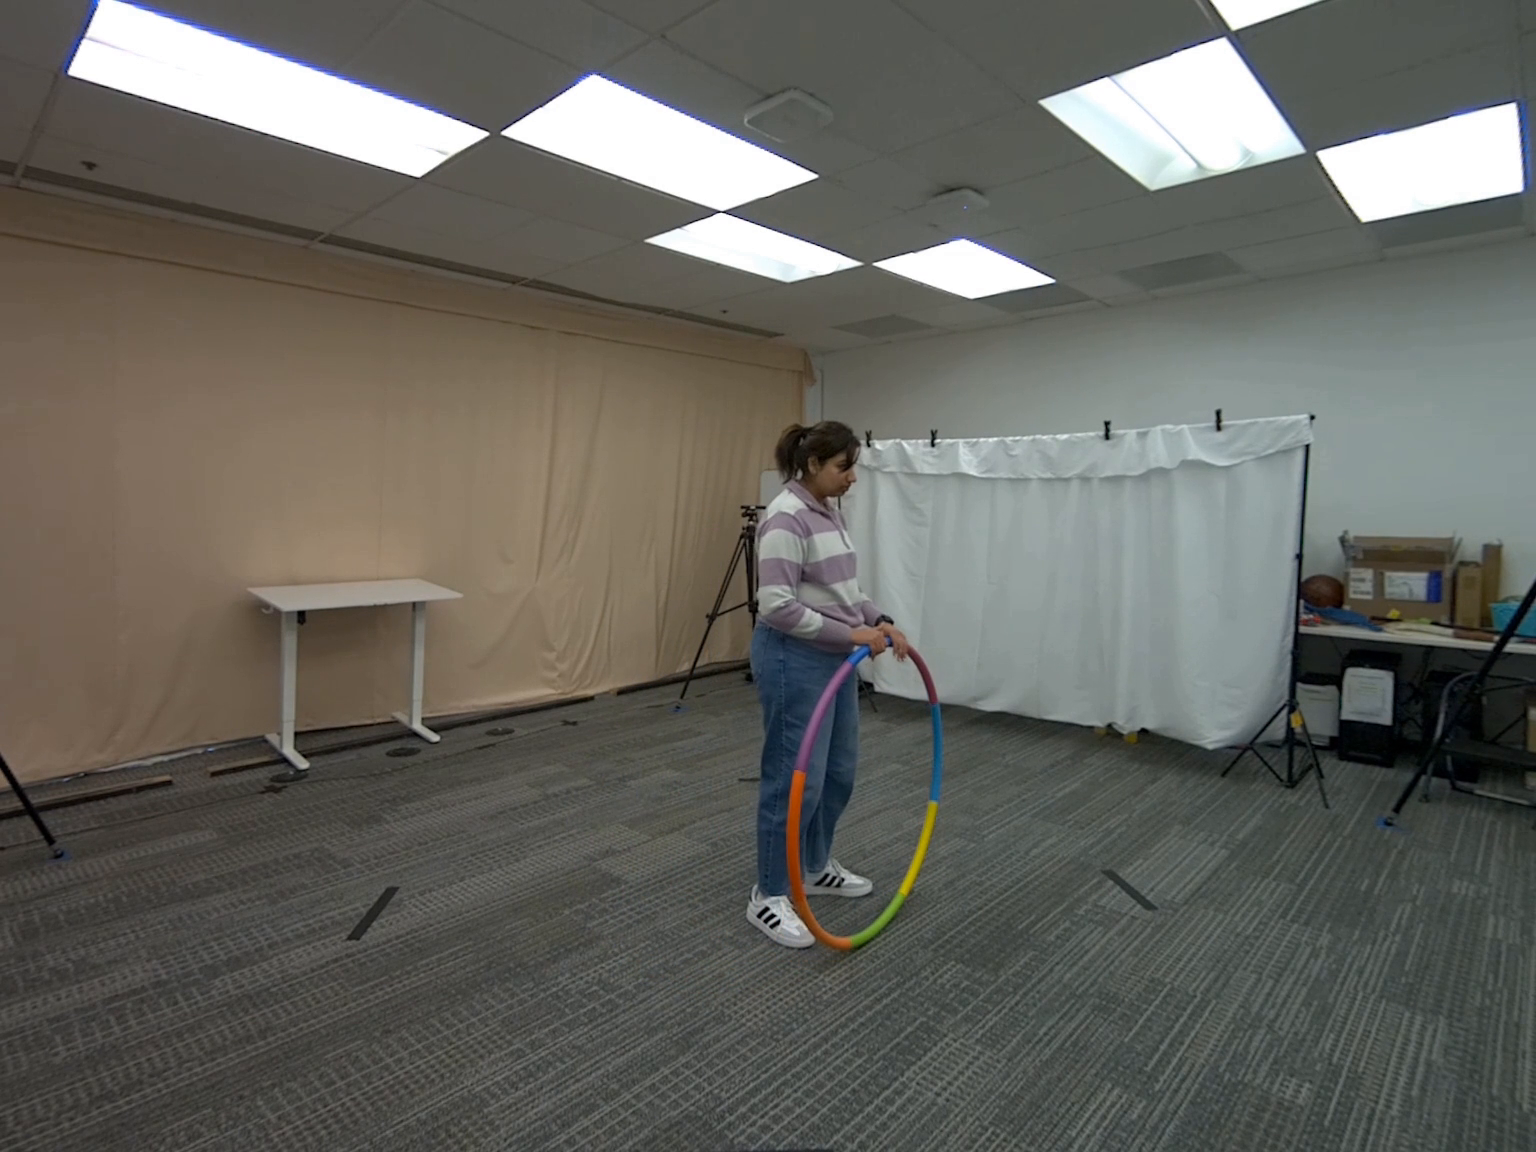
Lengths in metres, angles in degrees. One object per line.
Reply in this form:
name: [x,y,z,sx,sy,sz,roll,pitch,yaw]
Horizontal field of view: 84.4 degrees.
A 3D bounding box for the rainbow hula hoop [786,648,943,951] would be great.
rainbow hula hoop: [0.351,0.683,2.706,0.053,0.983,0.956,4,5,37]
